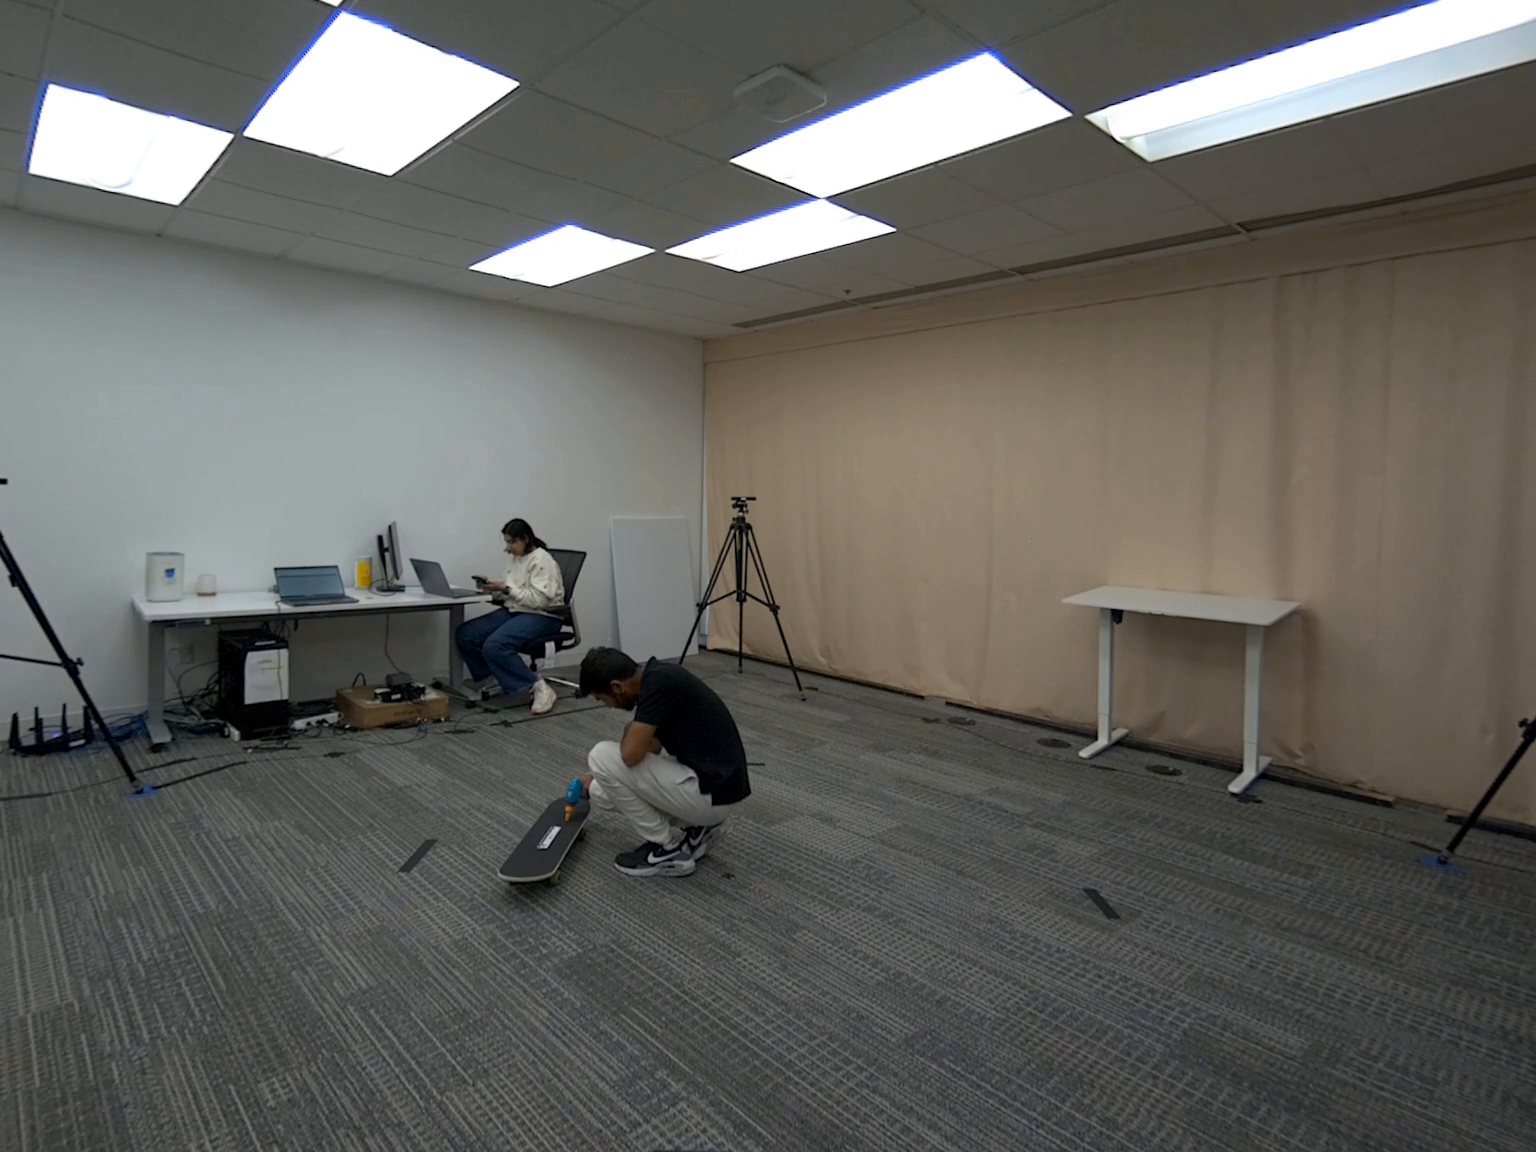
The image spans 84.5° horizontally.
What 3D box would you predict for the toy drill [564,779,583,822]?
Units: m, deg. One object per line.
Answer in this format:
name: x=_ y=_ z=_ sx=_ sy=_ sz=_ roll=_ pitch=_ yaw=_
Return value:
toy drill: x=-0.782 y=0.903 z=3.418 sx=0.062 sy=0.171 sz=0.142 roll=3 pitch=-19 yaw=20
